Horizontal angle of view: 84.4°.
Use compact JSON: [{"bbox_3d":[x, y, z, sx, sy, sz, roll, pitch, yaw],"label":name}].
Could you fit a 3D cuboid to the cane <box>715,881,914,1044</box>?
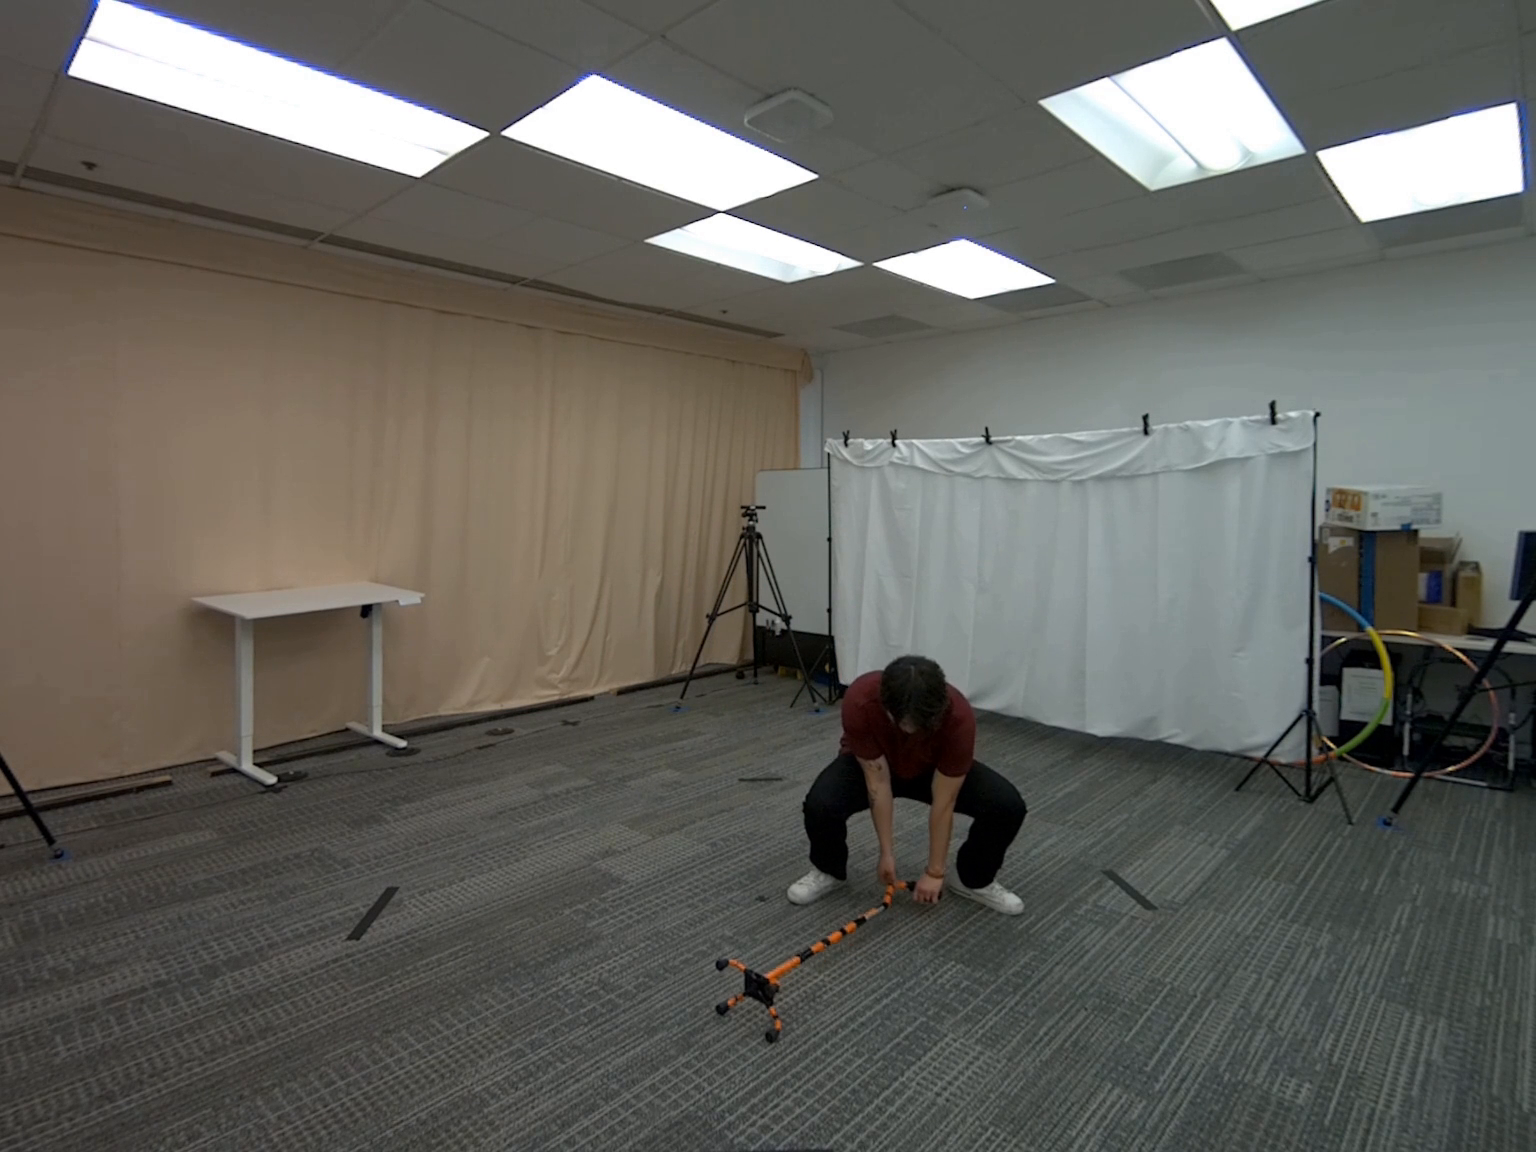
[{"bbox_3d":[0.225,1.106,2.569,0.213,0.151,0.880,5,6,41],"label":"cane"}]
